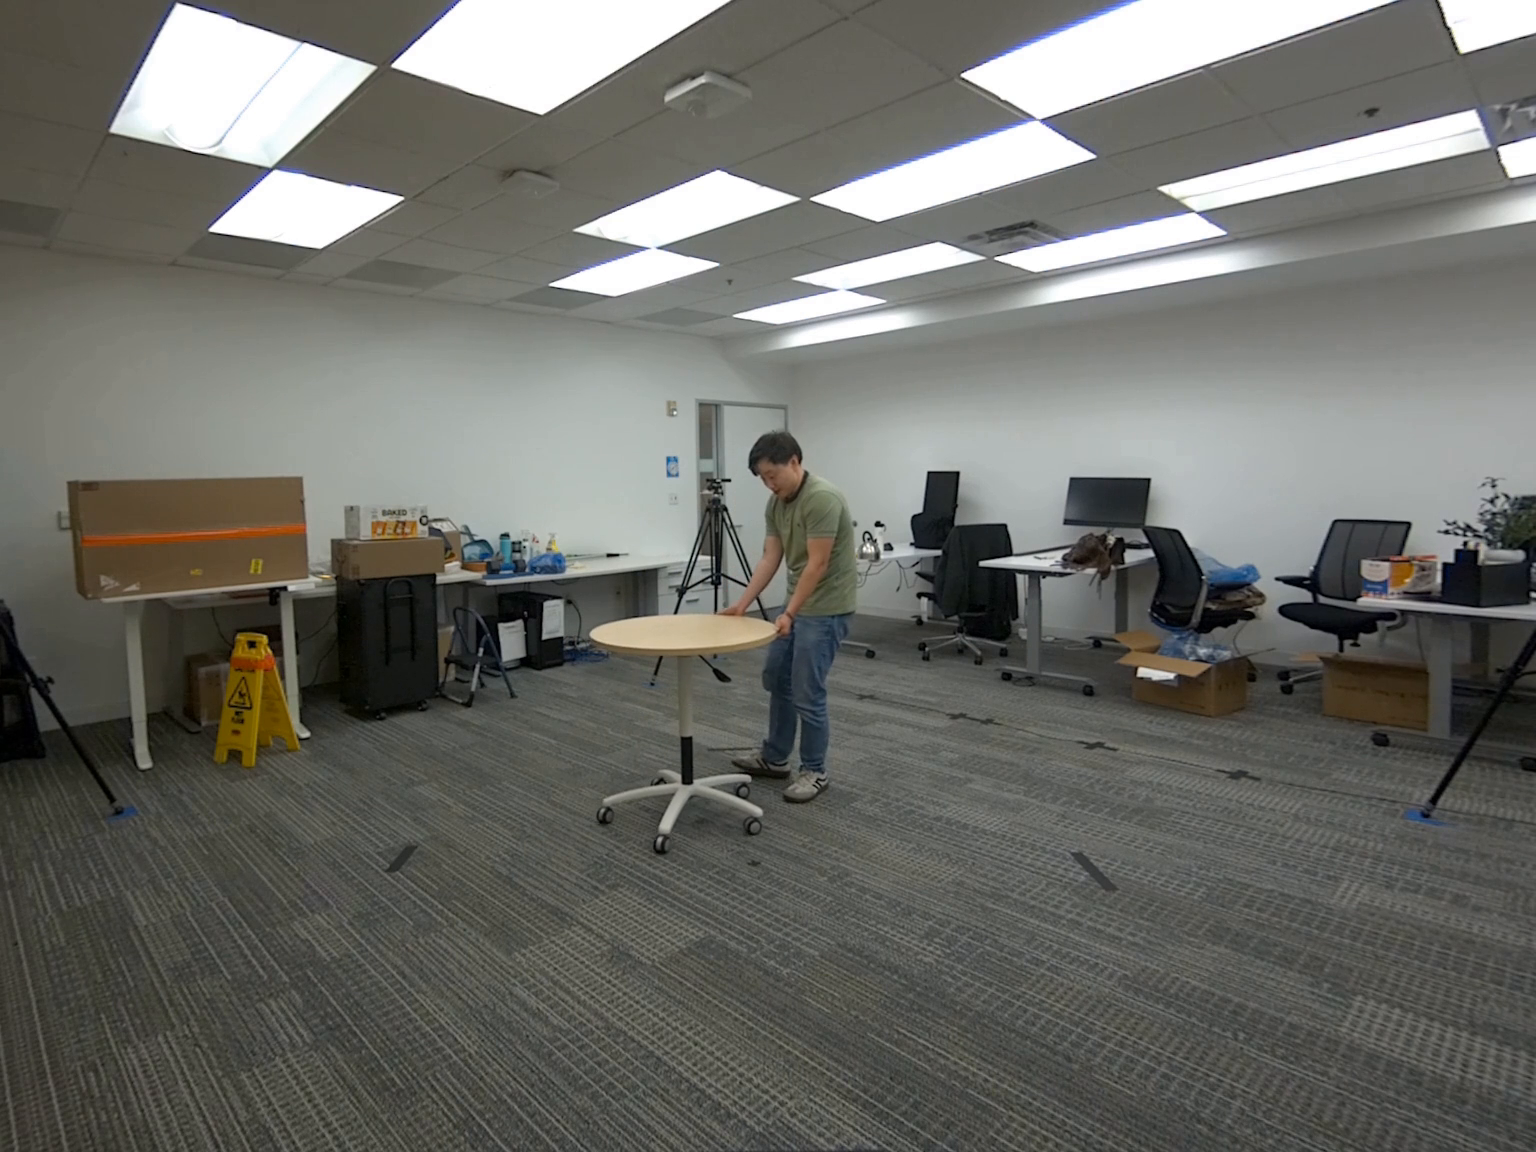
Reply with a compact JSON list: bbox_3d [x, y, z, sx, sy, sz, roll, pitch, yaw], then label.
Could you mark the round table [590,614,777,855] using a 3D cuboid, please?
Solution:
[{"bbox_3d":[-0.344,0.613,3.524,0.763,0.791,0.768,-1,5,-2],"label":"round table"}]
